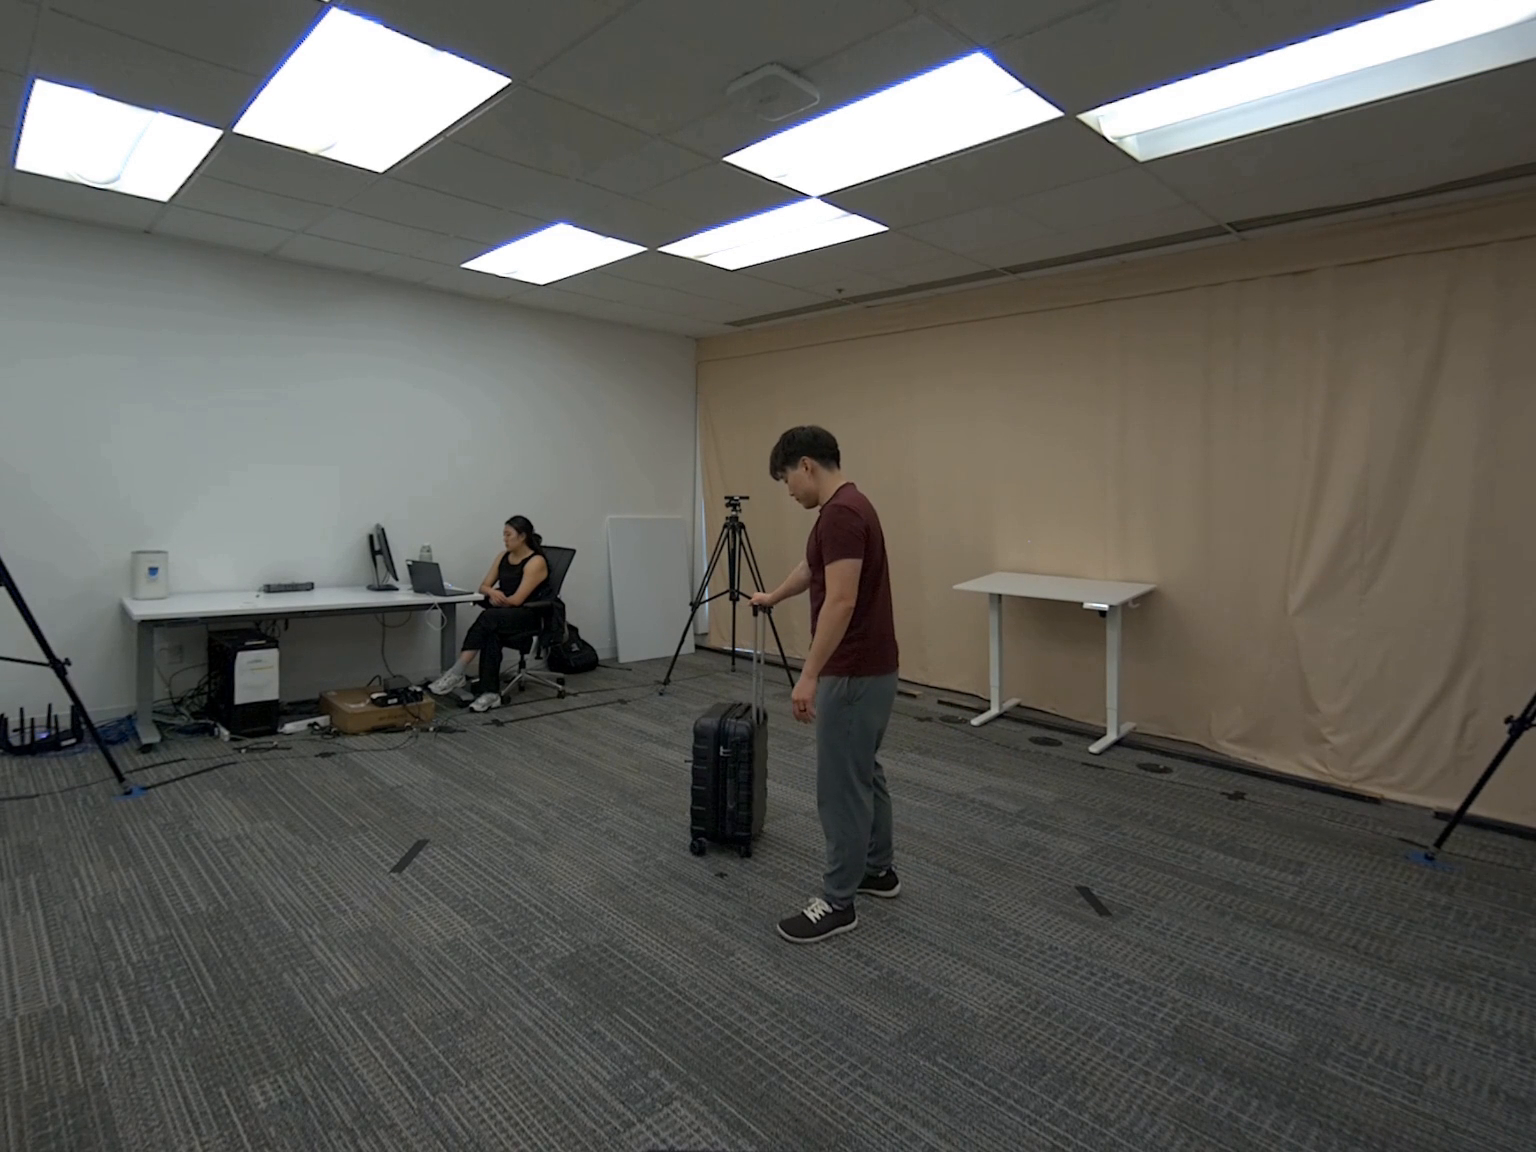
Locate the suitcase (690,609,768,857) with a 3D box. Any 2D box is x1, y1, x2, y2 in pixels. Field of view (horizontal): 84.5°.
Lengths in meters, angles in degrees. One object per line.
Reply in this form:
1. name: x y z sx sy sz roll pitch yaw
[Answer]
1. suitcase: -0.159 0.598 3.390 0.259 0.977 0.381 0 3 9
